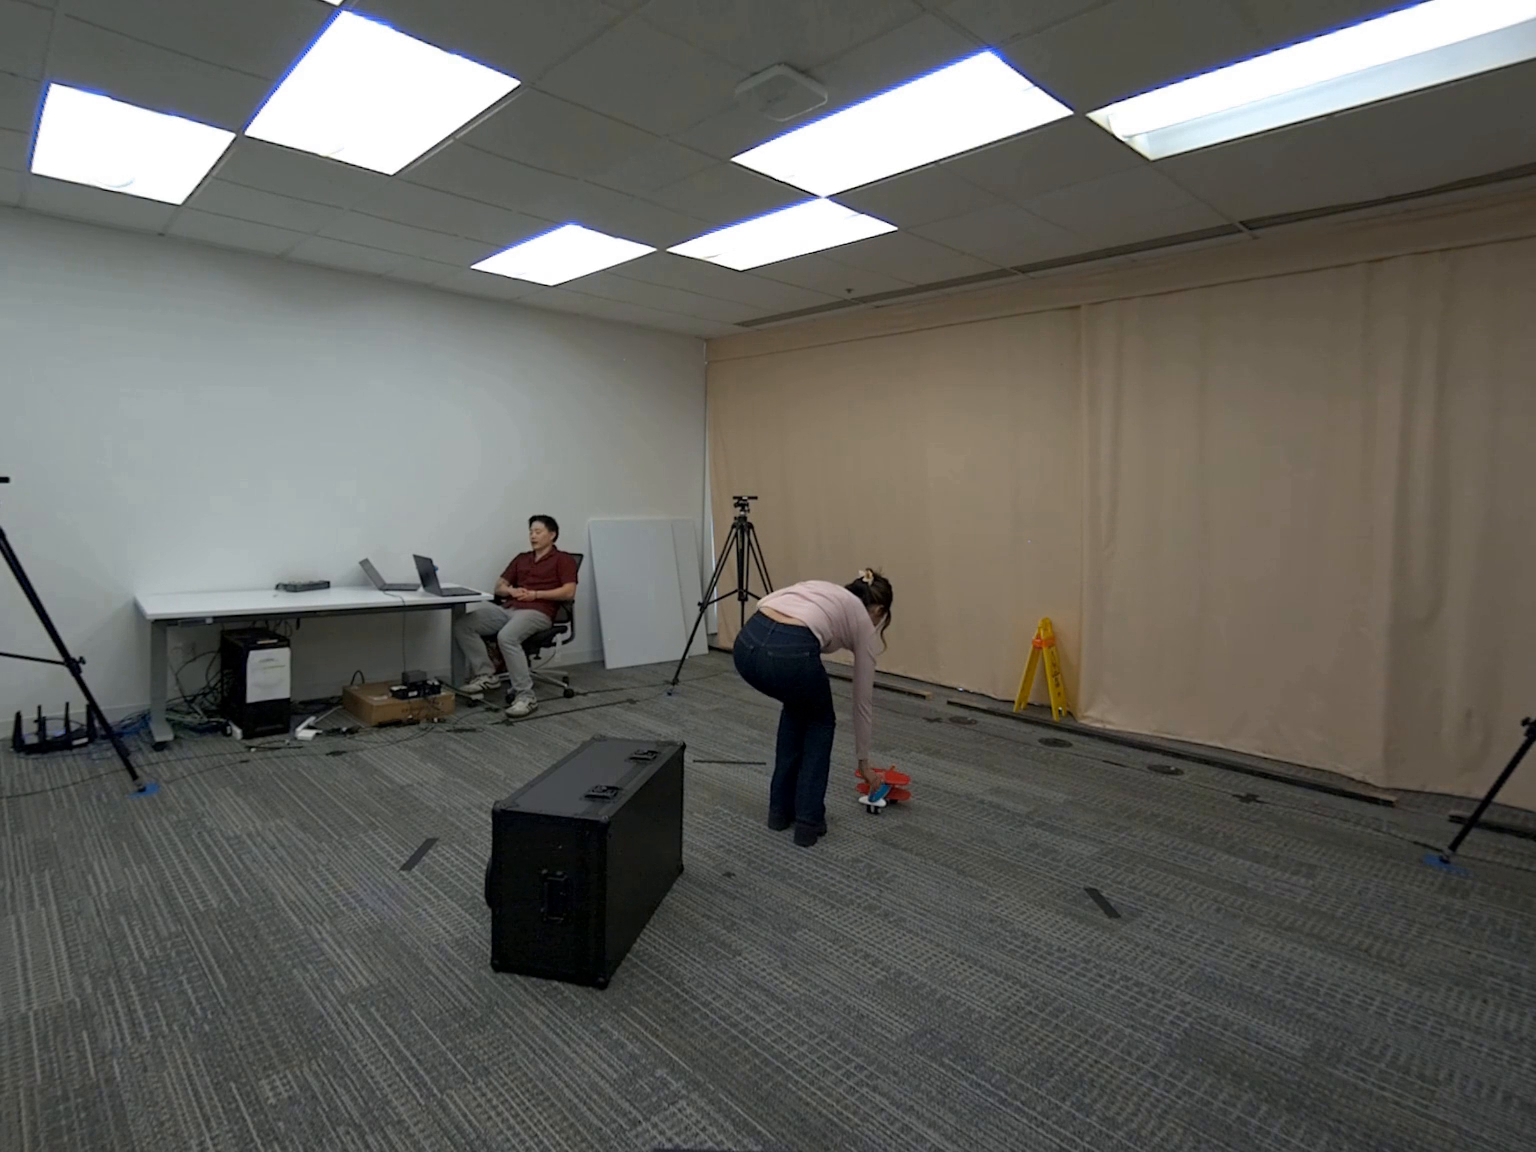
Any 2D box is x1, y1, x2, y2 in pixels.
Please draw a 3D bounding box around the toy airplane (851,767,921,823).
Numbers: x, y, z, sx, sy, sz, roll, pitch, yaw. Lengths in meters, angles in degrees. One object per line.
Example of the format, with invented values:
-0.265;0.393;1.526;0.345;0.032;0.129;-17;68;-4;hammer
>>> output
0.529;0.988;3.841;0.250;0.156;0.260;2;4;-4;toy airplane
